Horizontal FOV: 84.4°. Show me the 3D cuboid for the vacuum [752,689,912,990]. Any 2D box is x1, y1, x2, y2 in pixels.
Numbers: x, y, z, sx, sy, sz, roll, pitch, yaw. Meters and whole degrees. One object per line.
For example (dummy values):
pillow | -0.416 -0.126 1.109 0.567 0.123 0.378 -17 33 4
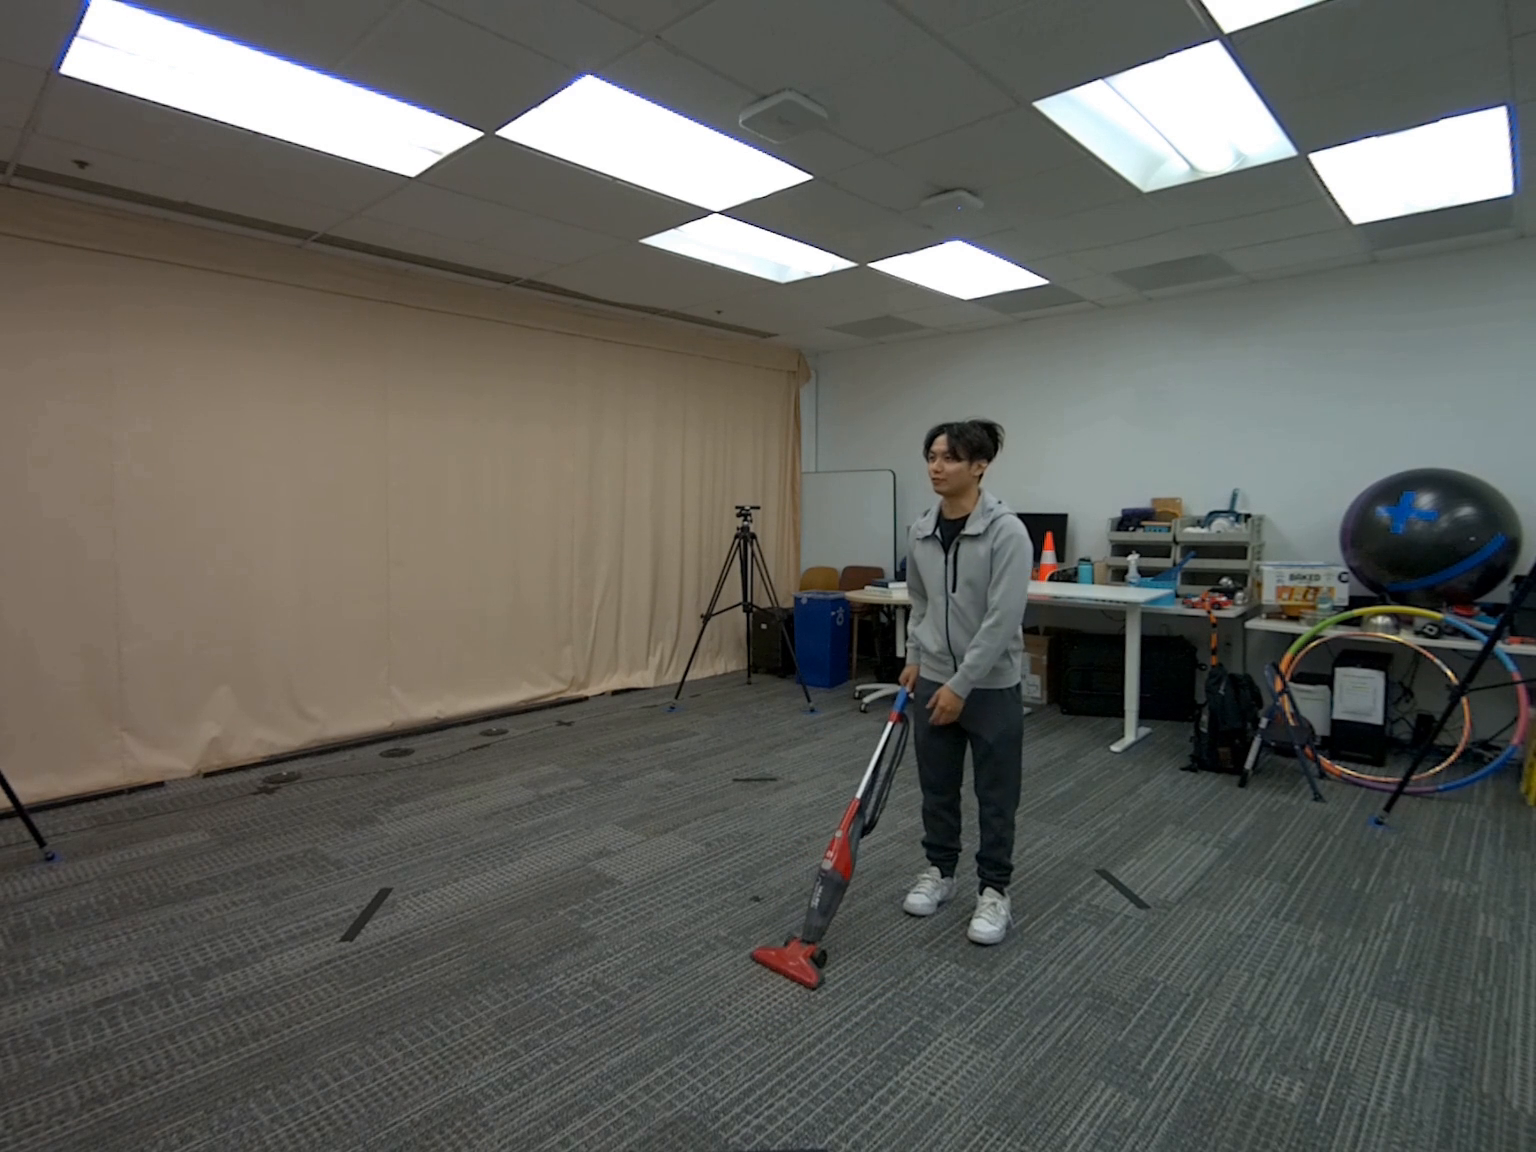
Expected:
vacuum | 0.298 0.782 2.762 0.261 1.049 0.139 7 -34 37
